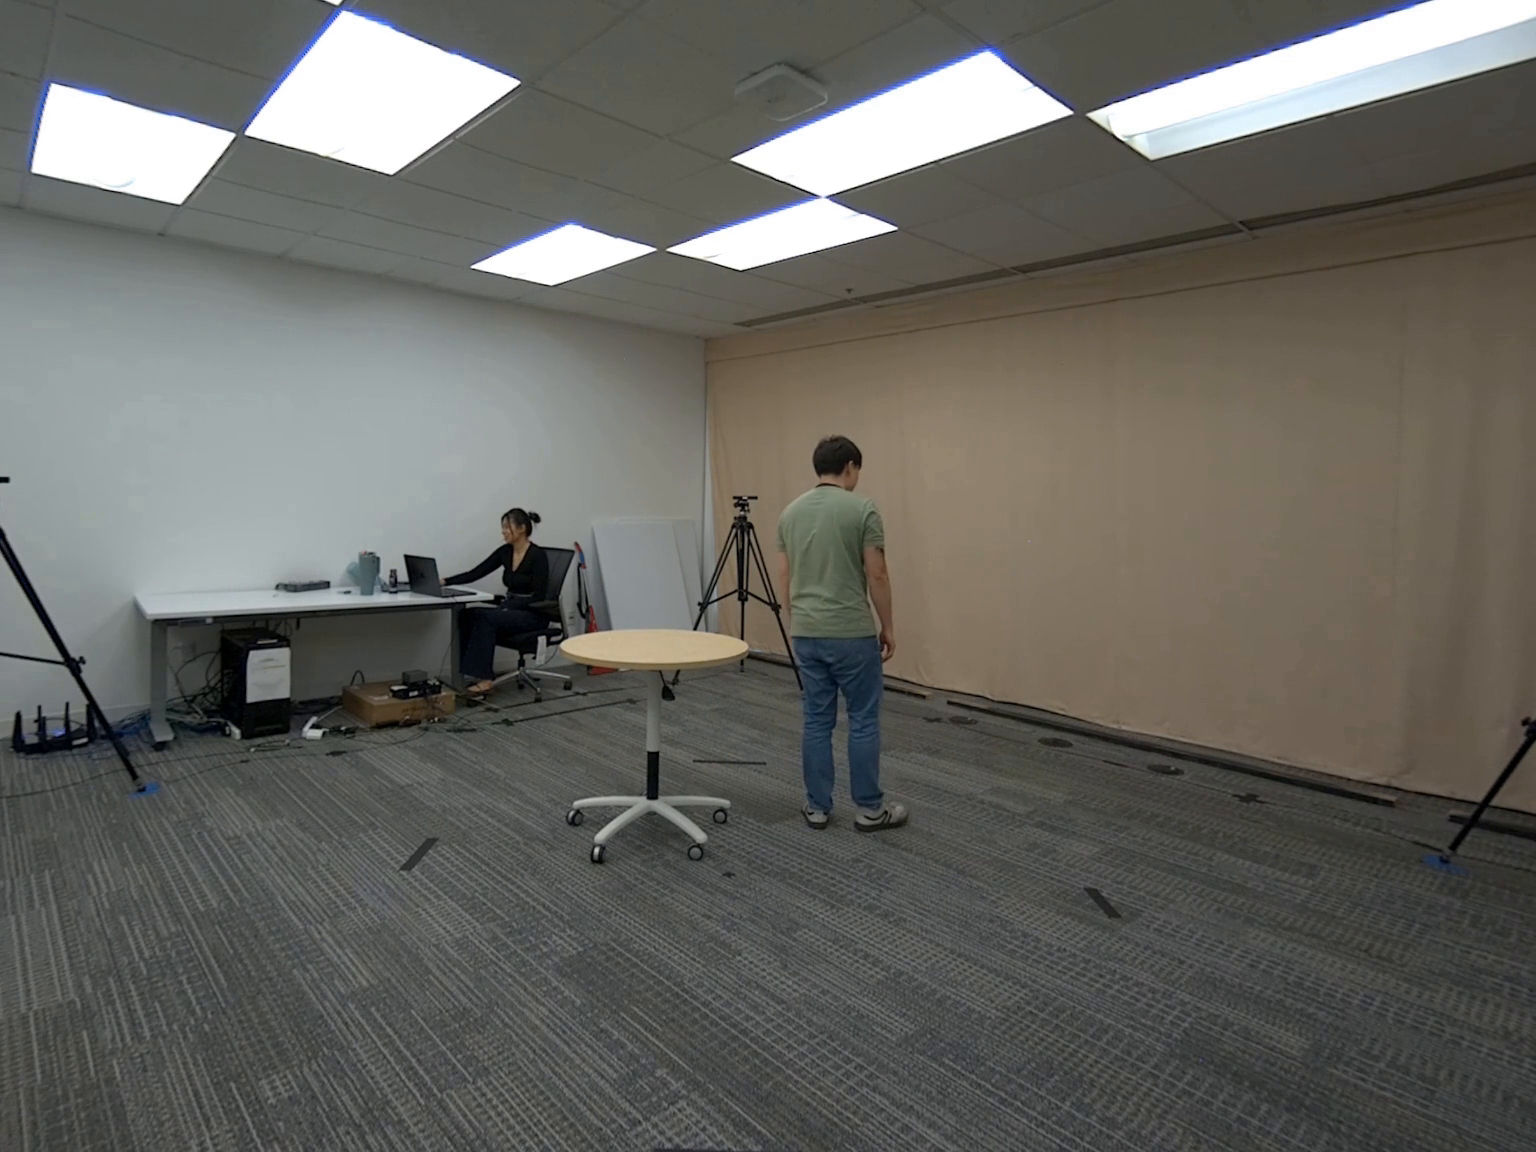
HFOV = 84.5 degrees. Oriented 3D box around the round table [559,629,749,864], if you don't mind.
[{"bbox_3d":[-0.487,0.675,3.468,0.763,0.792,0.766,1,4,-1],"label":"round table"}]
